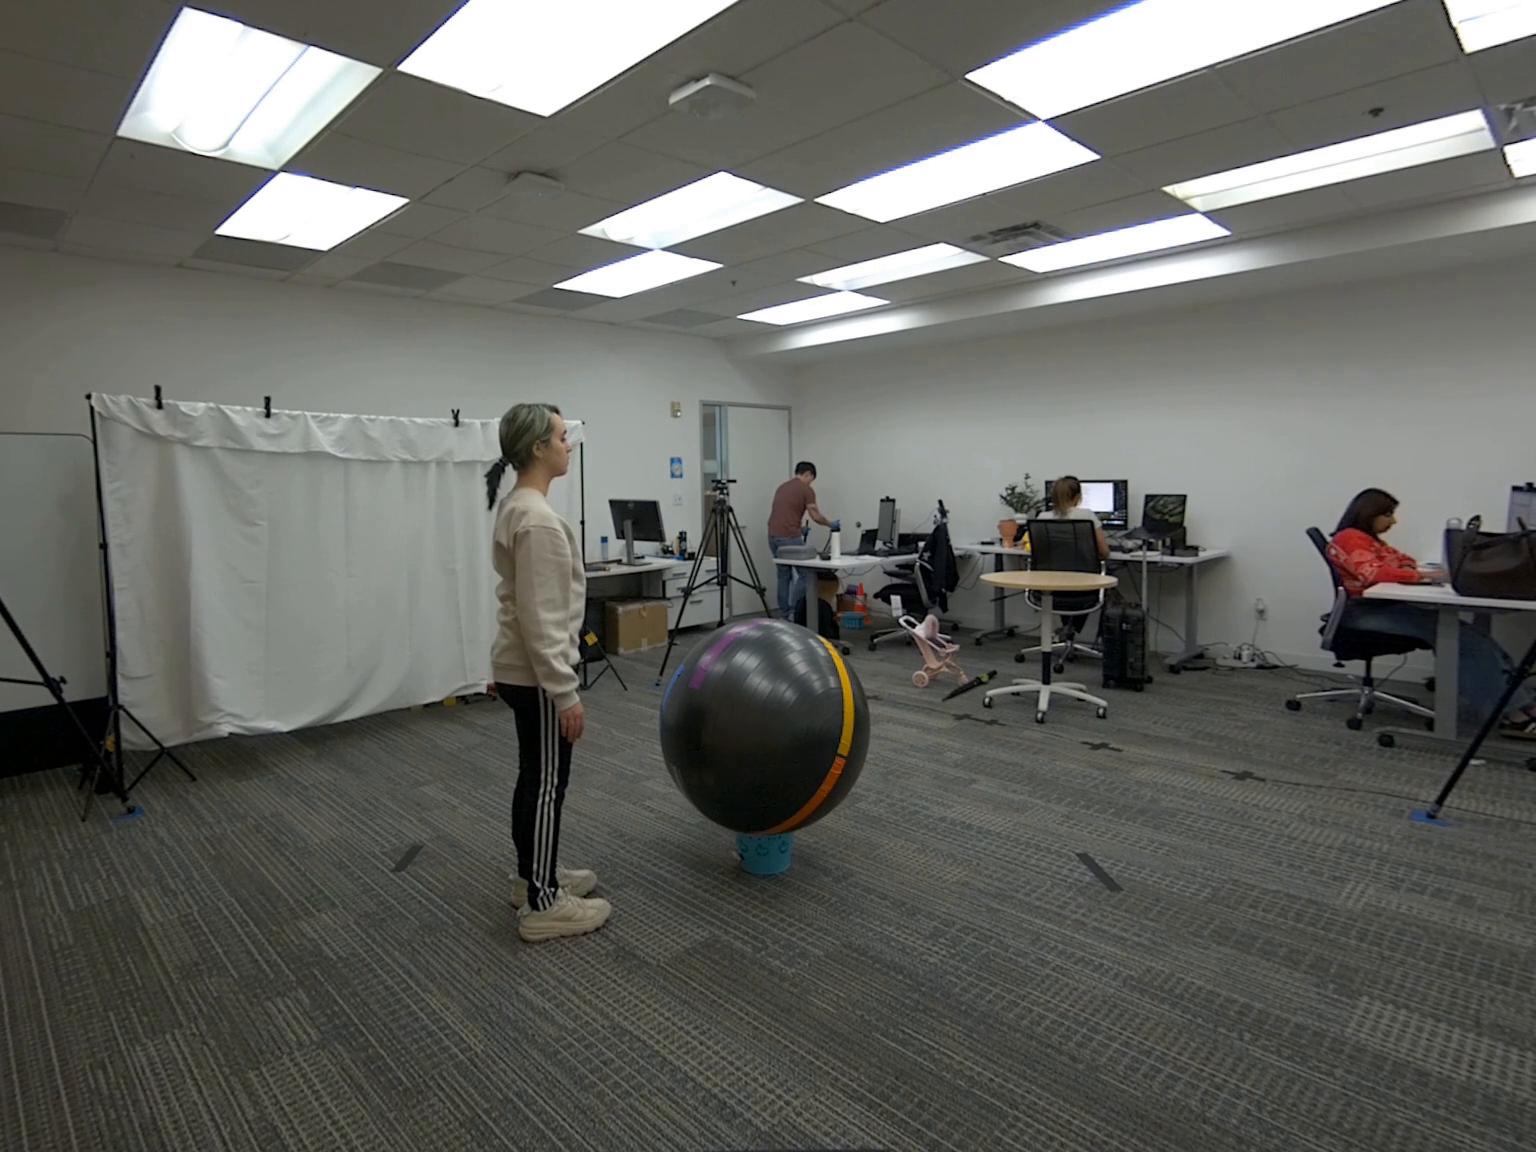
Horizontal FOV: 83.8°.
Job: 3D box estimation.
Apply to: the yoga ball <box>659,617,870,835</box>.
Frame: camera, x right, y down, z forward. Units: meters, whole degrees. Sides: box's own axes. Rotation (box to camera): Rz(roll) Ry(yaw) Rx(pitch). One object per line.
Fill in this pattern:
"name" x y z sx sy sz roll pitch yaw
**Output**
"yoga ball" -0.017 0.533 3.085 0.757 0.755 0.762 -1 5 -2
